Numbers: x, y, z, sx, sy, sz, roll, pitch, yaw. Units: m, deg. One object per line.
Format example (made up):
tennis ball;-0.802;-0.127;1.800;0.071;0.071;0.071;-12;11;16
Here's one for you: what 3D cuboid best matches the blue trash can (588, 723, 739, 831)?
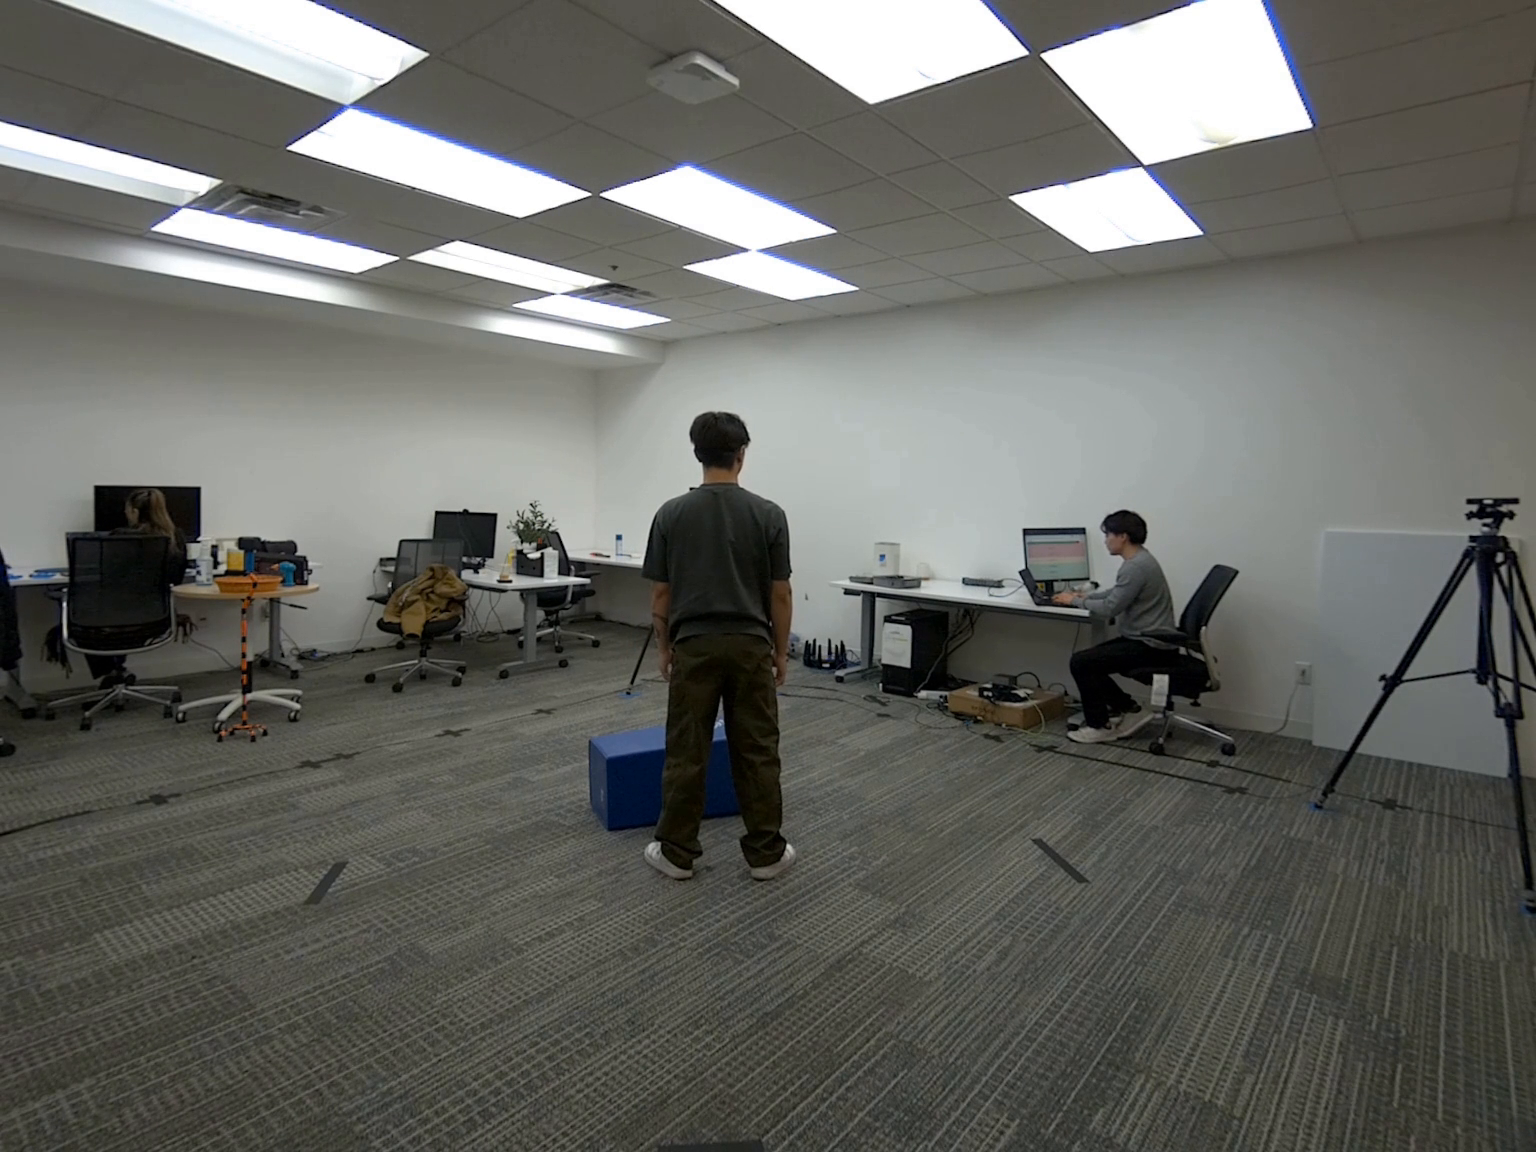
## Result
blue trash can;-0.402;0.830;3.674;0.698;0.372;0.388;-3;6;-23
